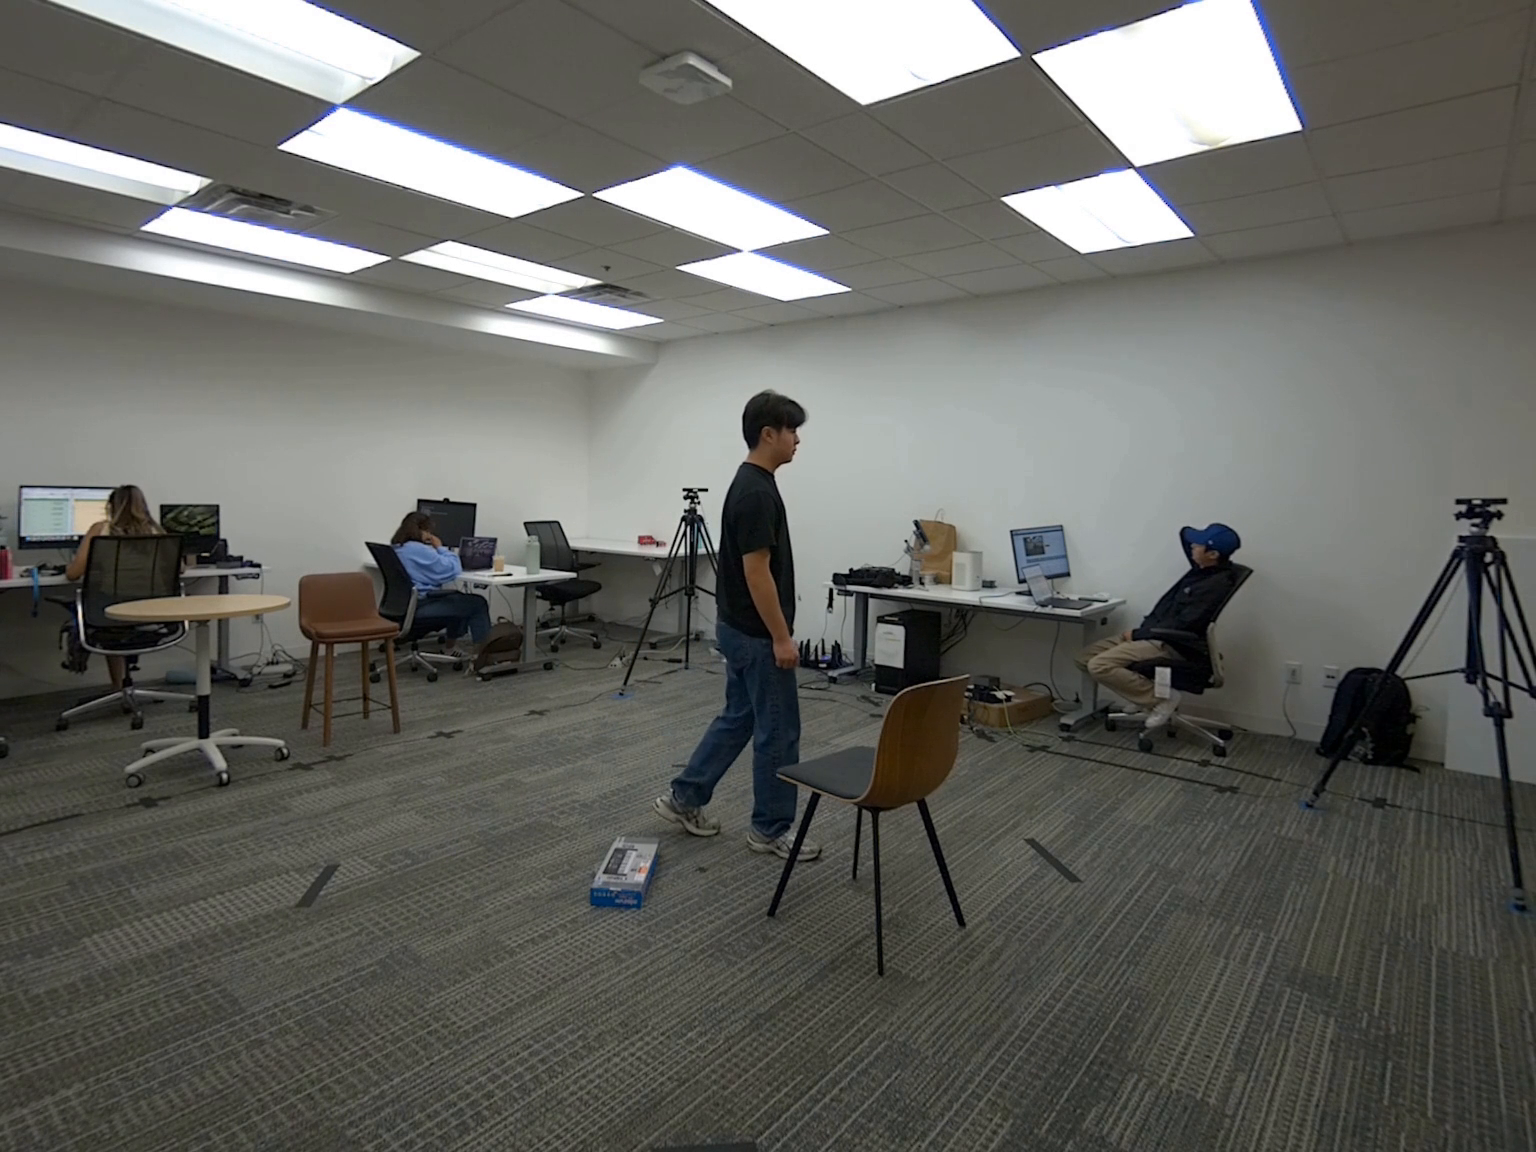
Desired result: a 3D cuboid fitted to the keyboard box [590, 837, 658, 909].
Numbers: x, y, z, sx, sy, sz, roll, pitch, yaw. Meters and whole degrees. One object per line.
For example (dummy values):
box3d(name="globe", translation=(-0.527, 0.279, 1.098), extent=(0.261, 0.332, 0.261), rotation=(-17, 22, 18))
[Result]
box3d(name="keyboard box", translation=(-0.509, 1.044, 3.028), extent=(0.176, 0.059, 0.437), rotation=(2, 6, 2))
